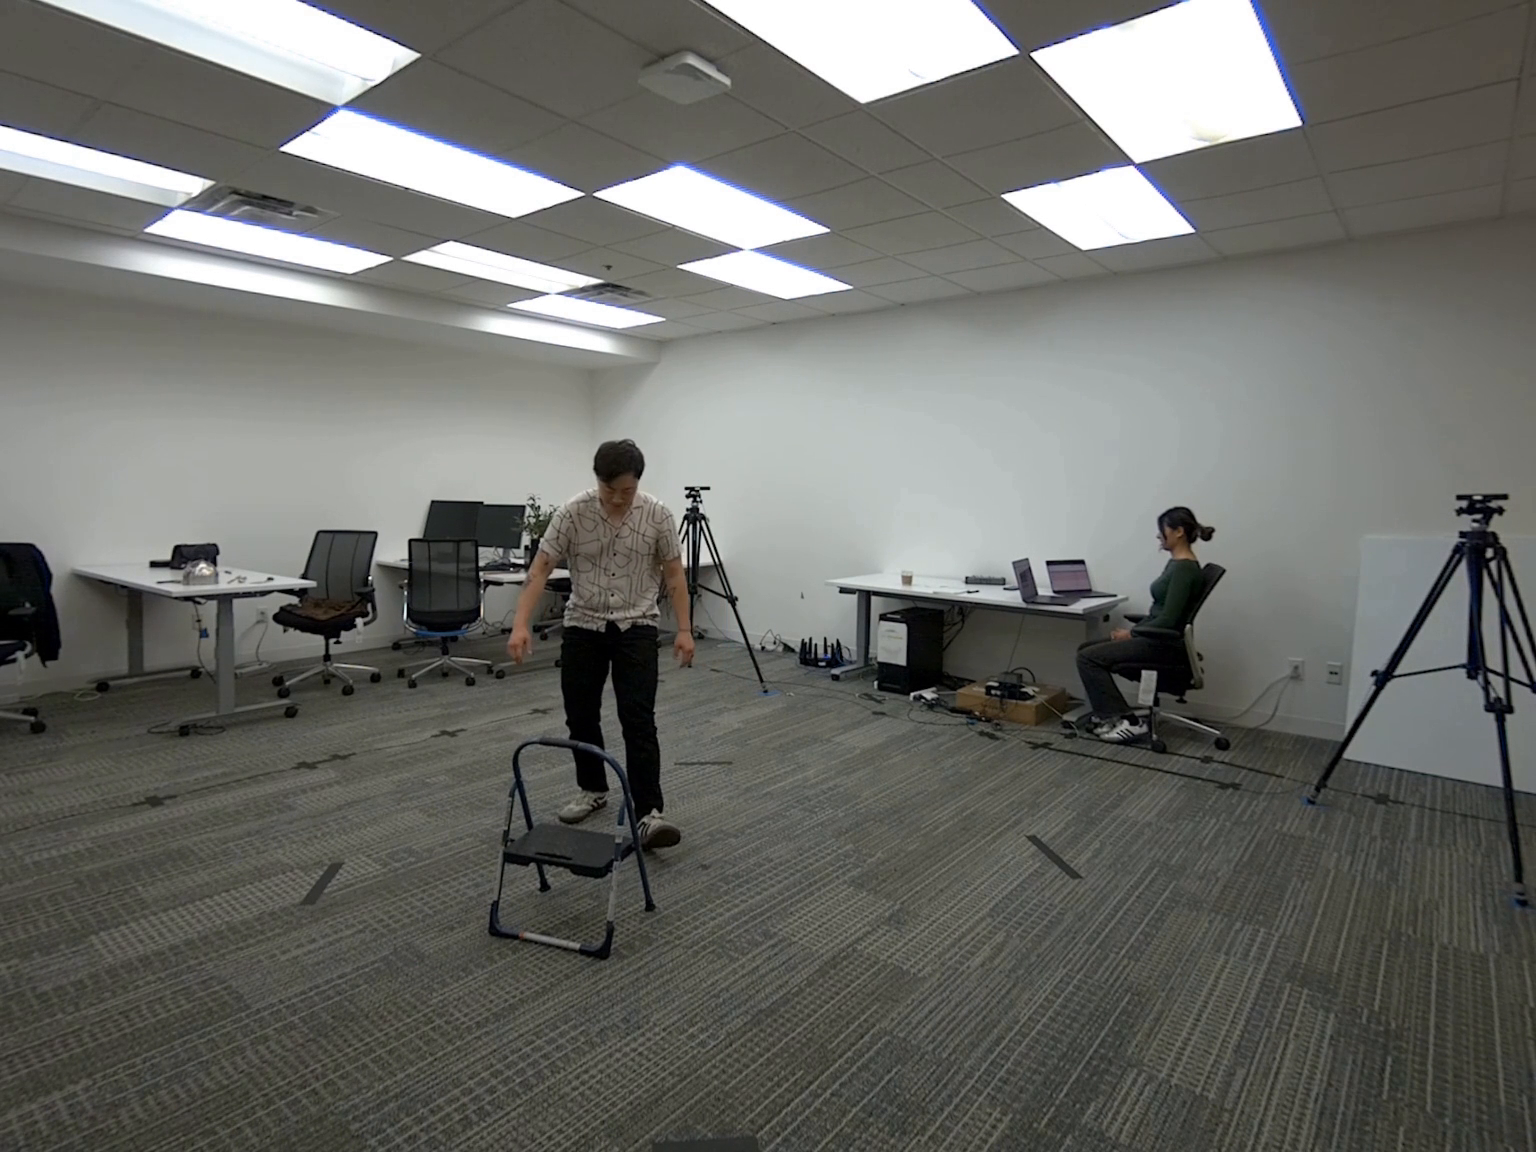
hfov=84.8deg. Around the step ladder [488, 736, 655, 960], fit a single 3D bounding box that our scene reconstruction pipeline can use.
[{"bbox_3d":[-0.631,0.796,2.700,0.439,0.604,0.344,2,4,18],"label":"step ladder"}]
